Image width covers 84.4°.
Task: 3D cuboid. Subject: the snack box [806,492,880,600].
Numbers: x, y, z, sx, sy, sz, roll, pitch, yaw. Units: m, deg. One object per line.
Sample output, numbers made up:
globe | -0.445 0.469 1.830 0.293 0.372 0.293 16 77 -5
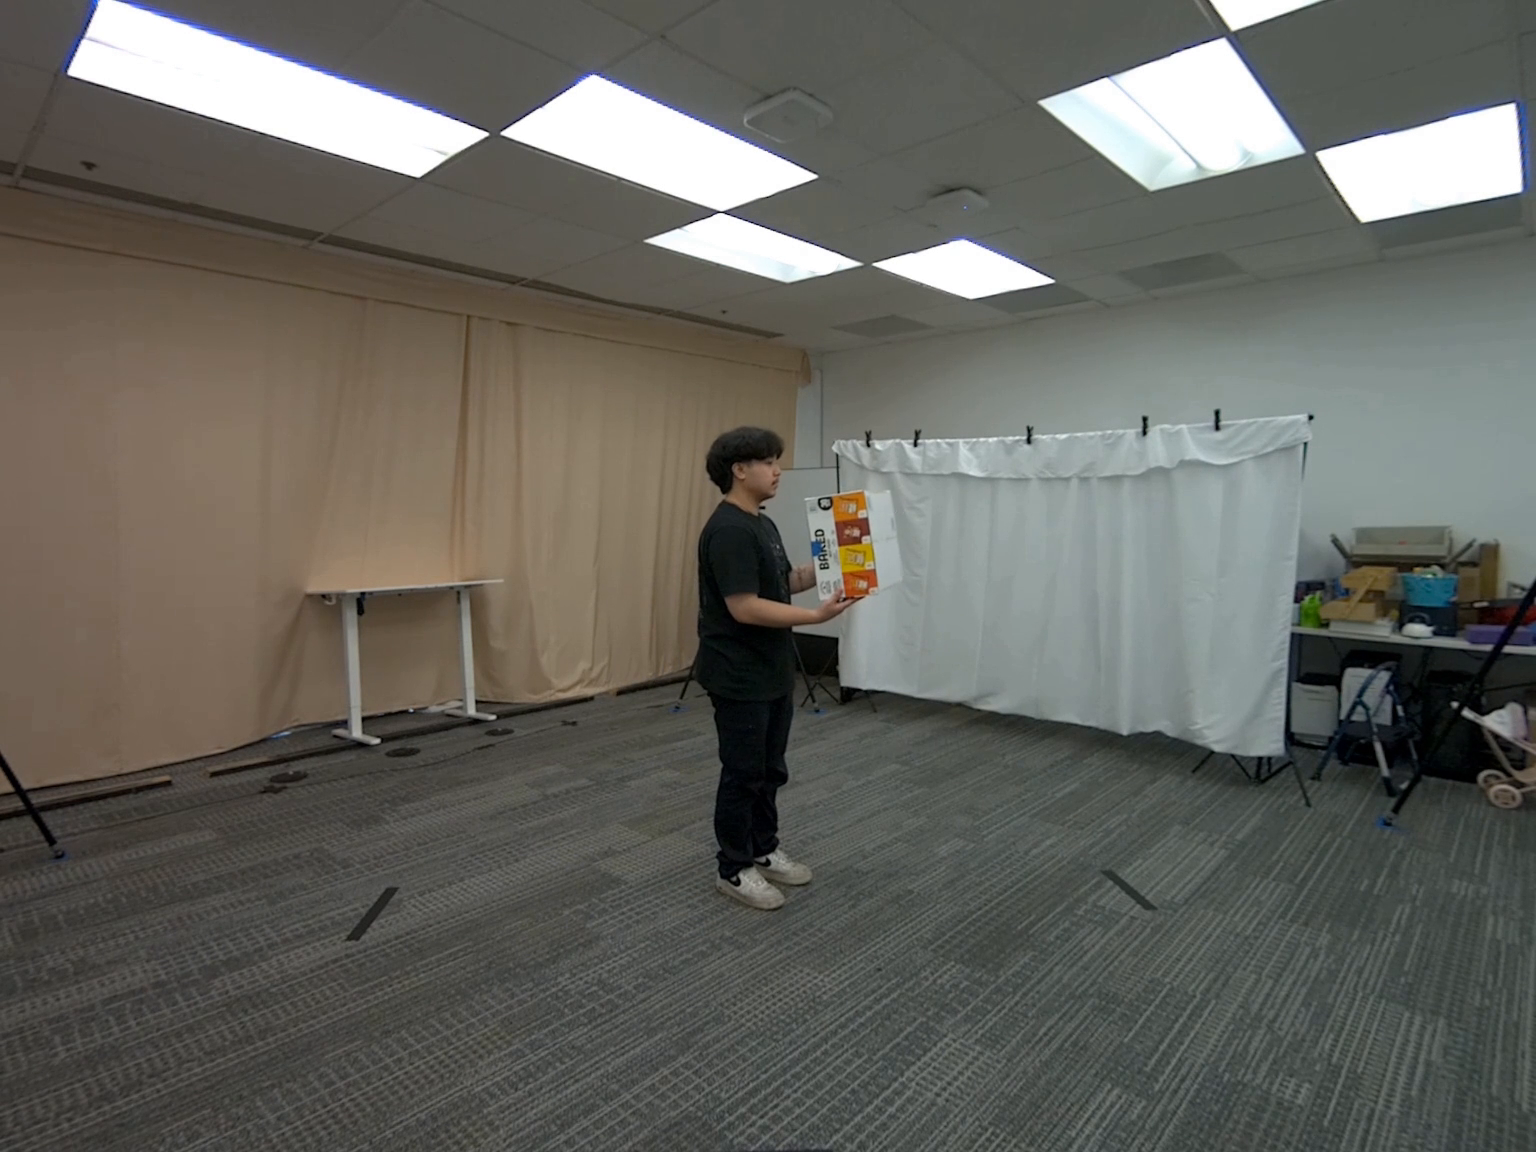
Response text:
snack box | 0.309 -0.110 2.932 0.210 0.340 0.397 -7 2 22
